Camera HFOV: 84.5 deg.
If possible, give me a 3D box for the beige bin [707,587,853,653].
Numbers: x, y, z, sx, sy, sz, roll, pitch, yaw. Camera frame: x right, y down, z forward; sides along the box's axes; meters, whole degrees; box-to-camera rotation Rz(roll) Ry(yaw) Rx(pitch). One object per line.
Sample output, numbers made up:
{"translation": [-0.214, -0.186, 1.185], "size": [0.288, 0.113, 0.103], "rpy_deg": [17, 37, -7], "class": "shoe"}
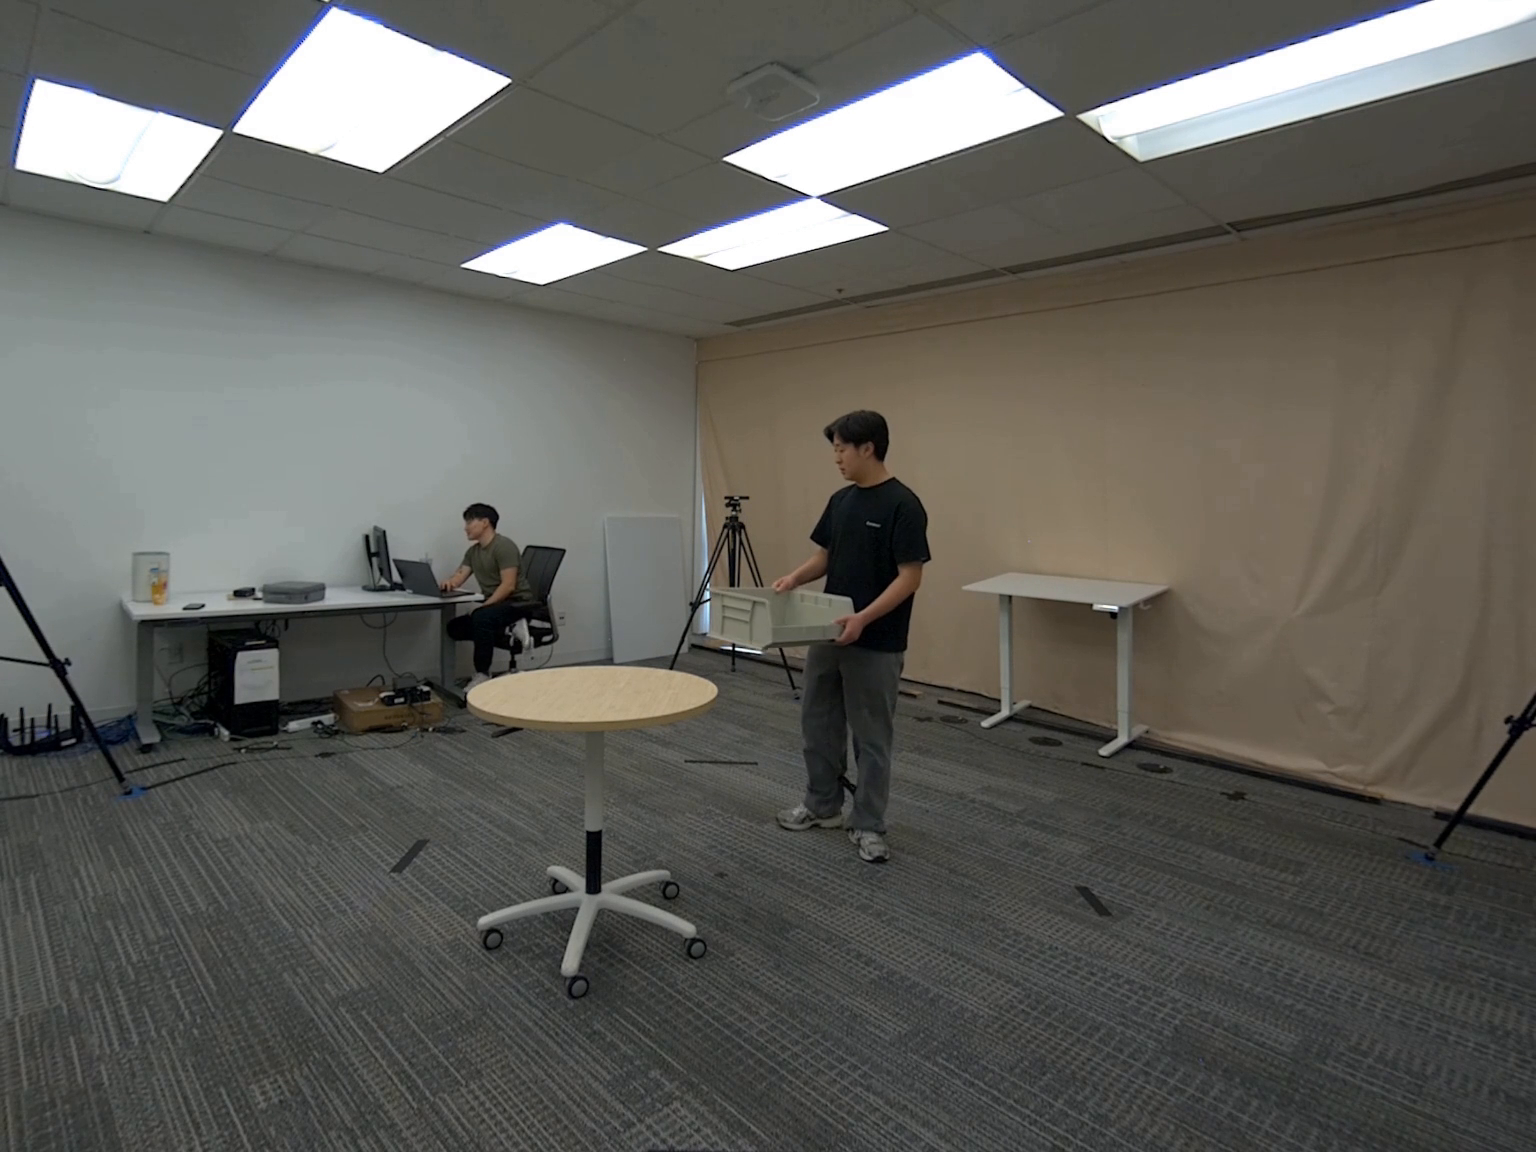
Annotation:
{"translation": [0.041, 0.157, 3.104], "size": [0.412, 0.188, 0.387], "rpy_deg": [0, 4, -40], "class": "beige bin"}
